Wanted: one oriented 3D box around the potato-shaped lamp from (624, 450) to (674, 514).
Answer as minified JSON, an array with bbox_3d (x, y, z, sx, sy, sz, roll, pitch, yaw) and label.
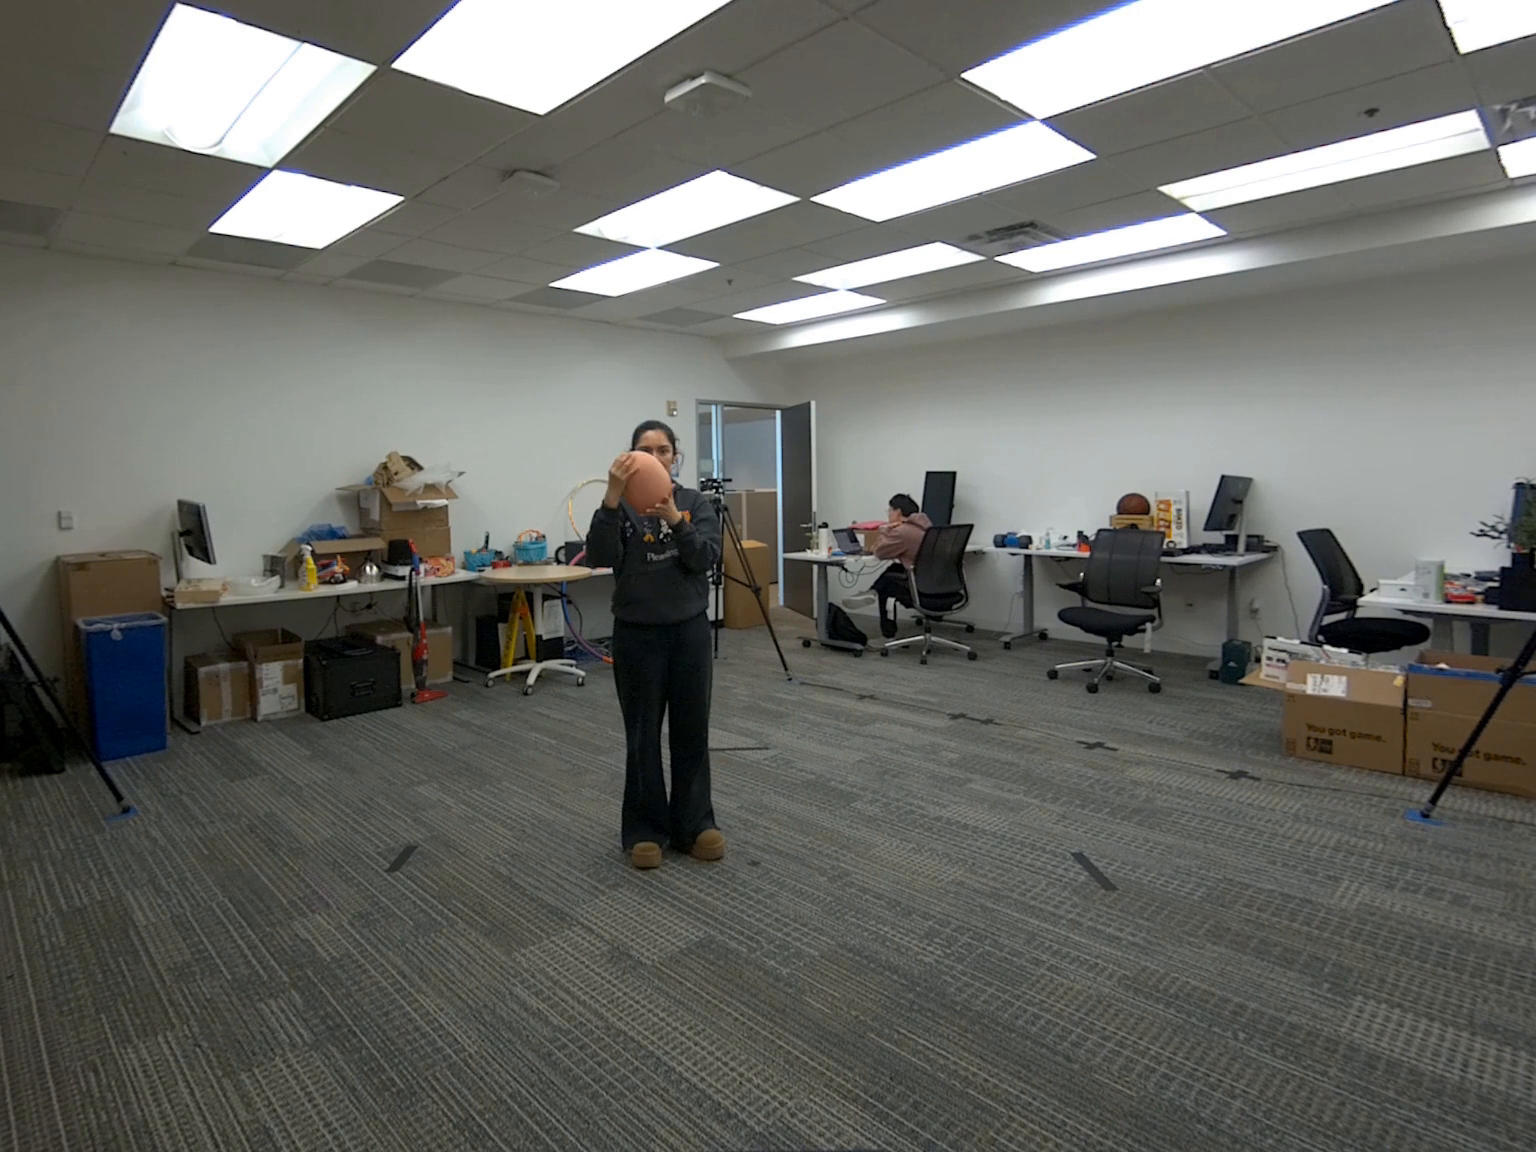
[{"bbox_3d":[-0.437,-0.329,2.872,0.166,0.192,0.175,-20,29,16],"label":"potato-shaped lamp"}]
